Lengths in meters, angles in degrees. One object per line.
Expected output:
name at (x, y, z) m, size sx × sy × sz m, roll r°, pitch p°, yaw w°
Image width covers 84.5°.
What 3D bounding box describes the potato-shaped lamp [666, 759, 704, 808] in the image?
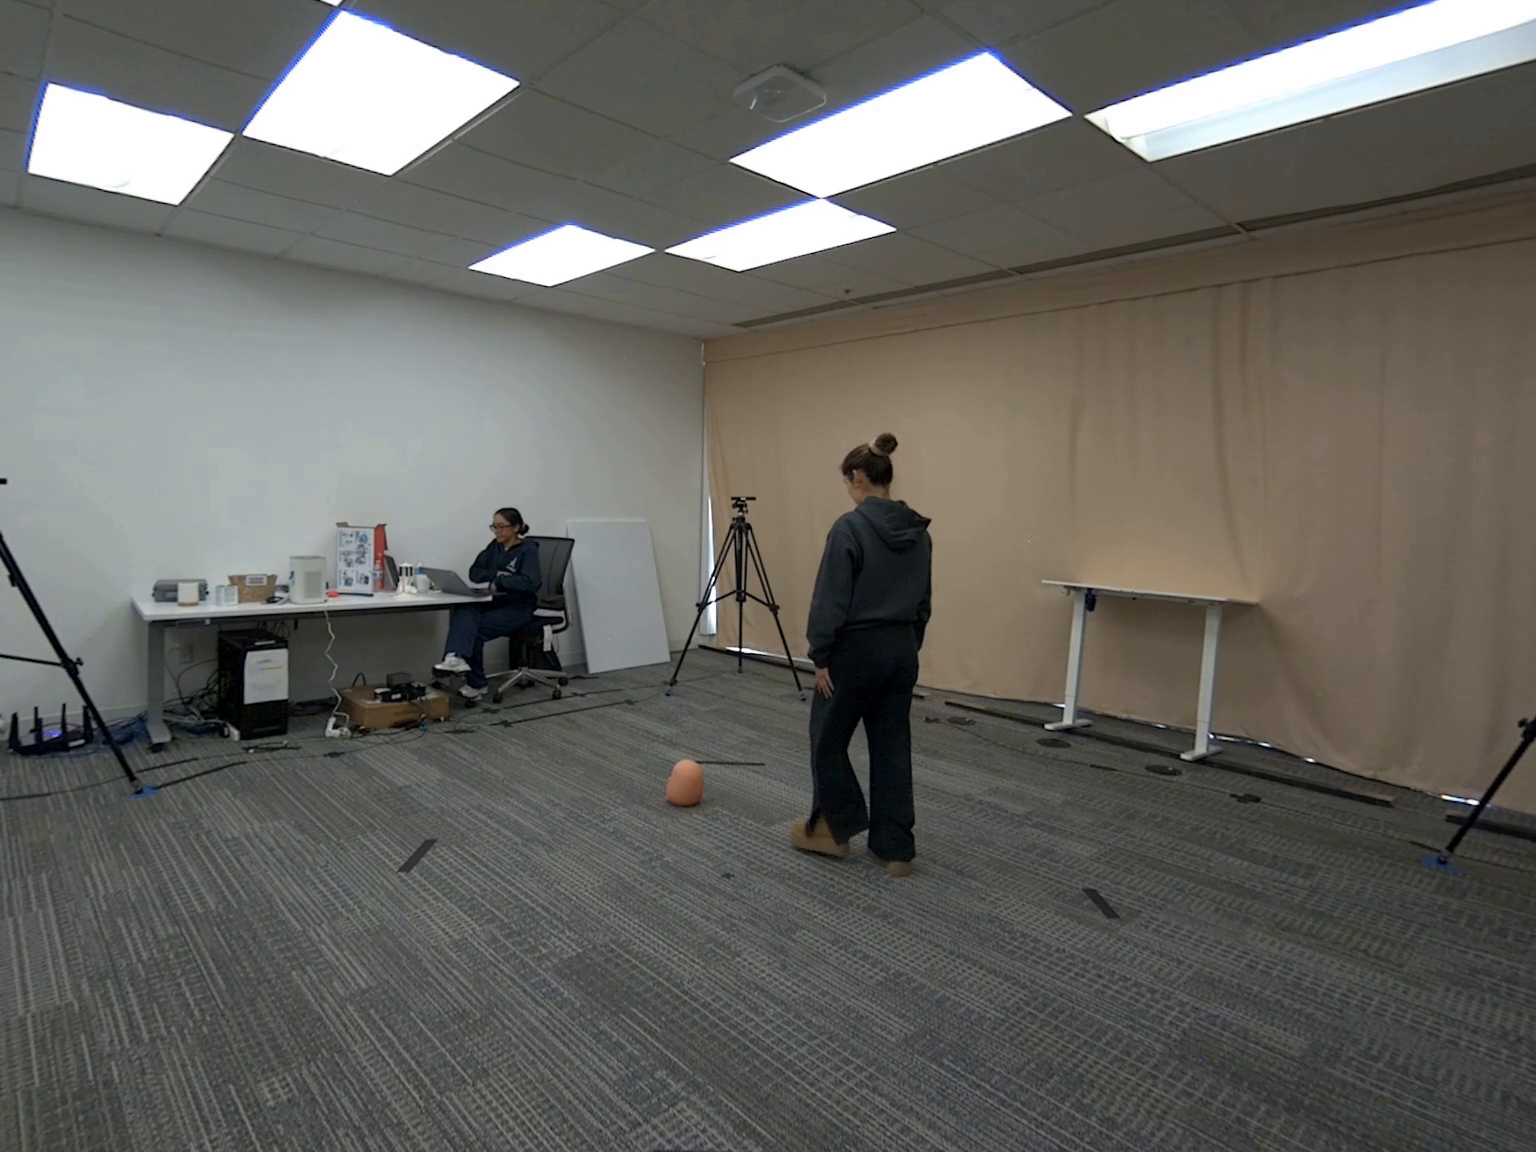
potato-shaped lamp at (-0.394, 0.937, 3.851) m, size 0.161 × 0.198 × 0.176 m, roll 1°, pitch 2°, yaw -43°
